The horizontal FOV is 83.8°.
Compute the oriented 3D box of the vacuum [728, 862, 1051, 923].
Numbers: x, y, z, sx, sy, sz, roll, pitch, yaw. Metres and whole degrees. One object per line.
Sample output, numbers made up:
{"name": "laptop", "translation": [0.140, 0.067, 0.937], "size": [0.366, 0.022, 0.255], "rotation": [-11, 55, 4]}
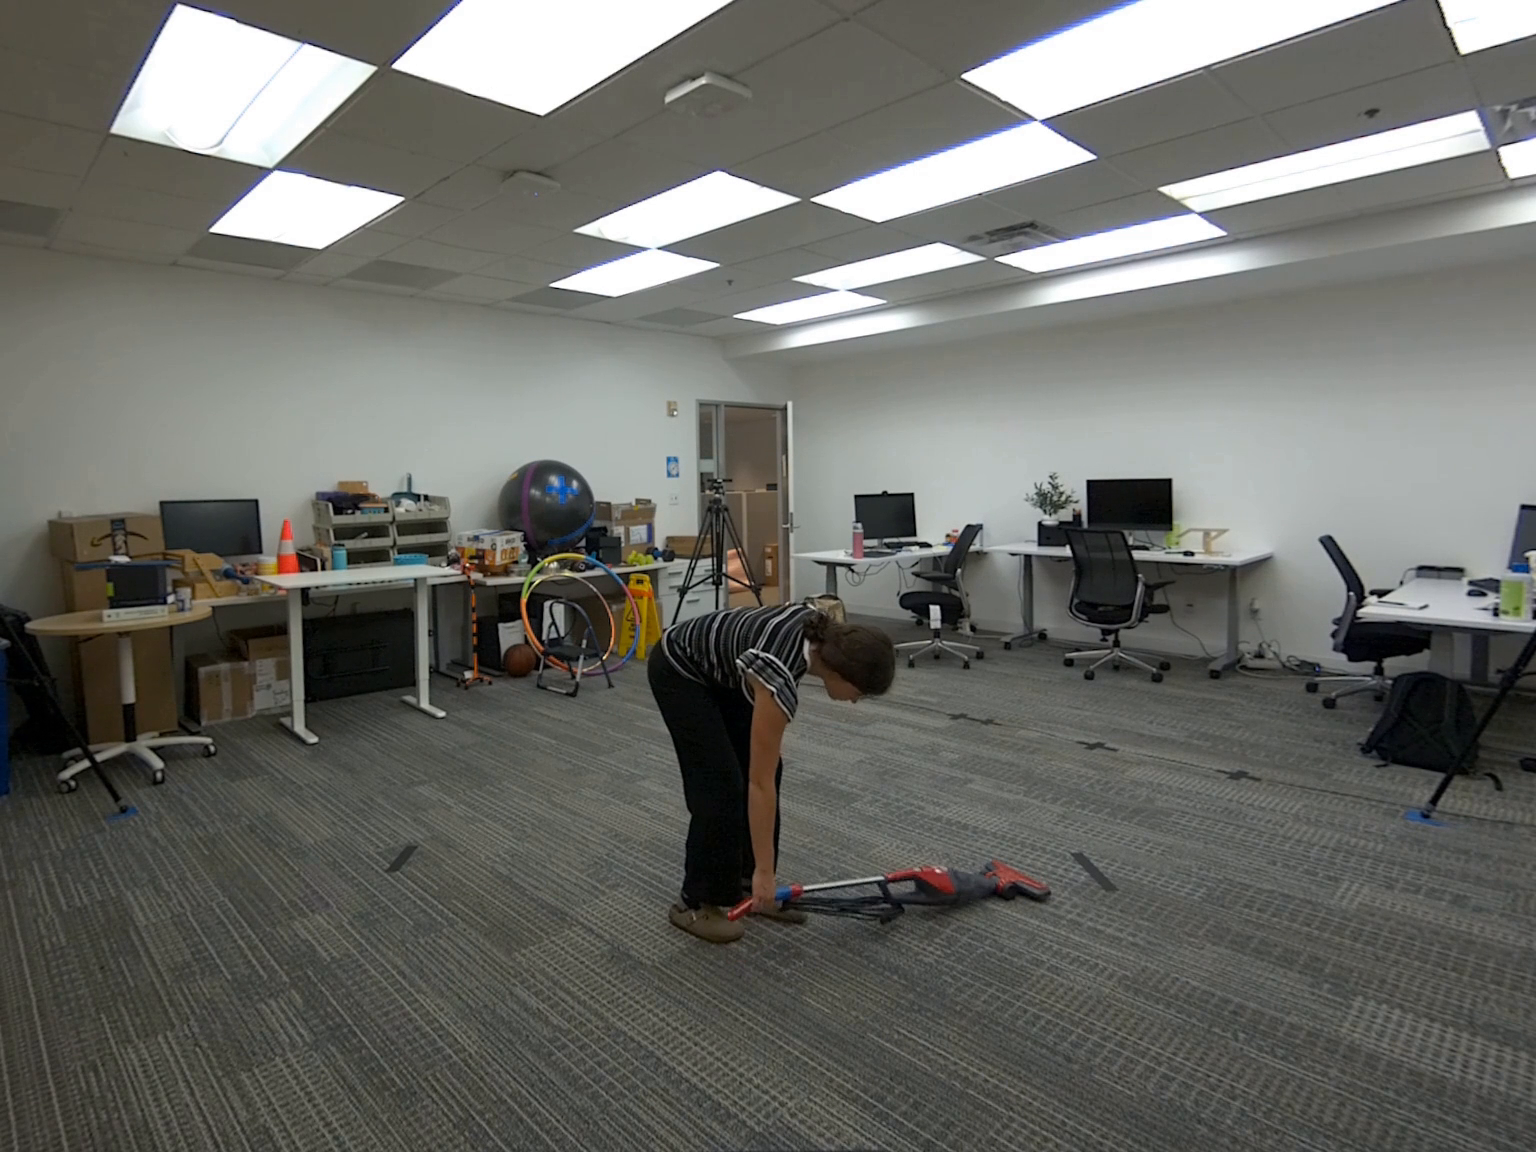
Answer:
{"name": "vacuum", "translation": [0.377, 0.987, 2.663], "size": [1.024, 0.145, 0.257], "rotation": [3, -4, -27]}
